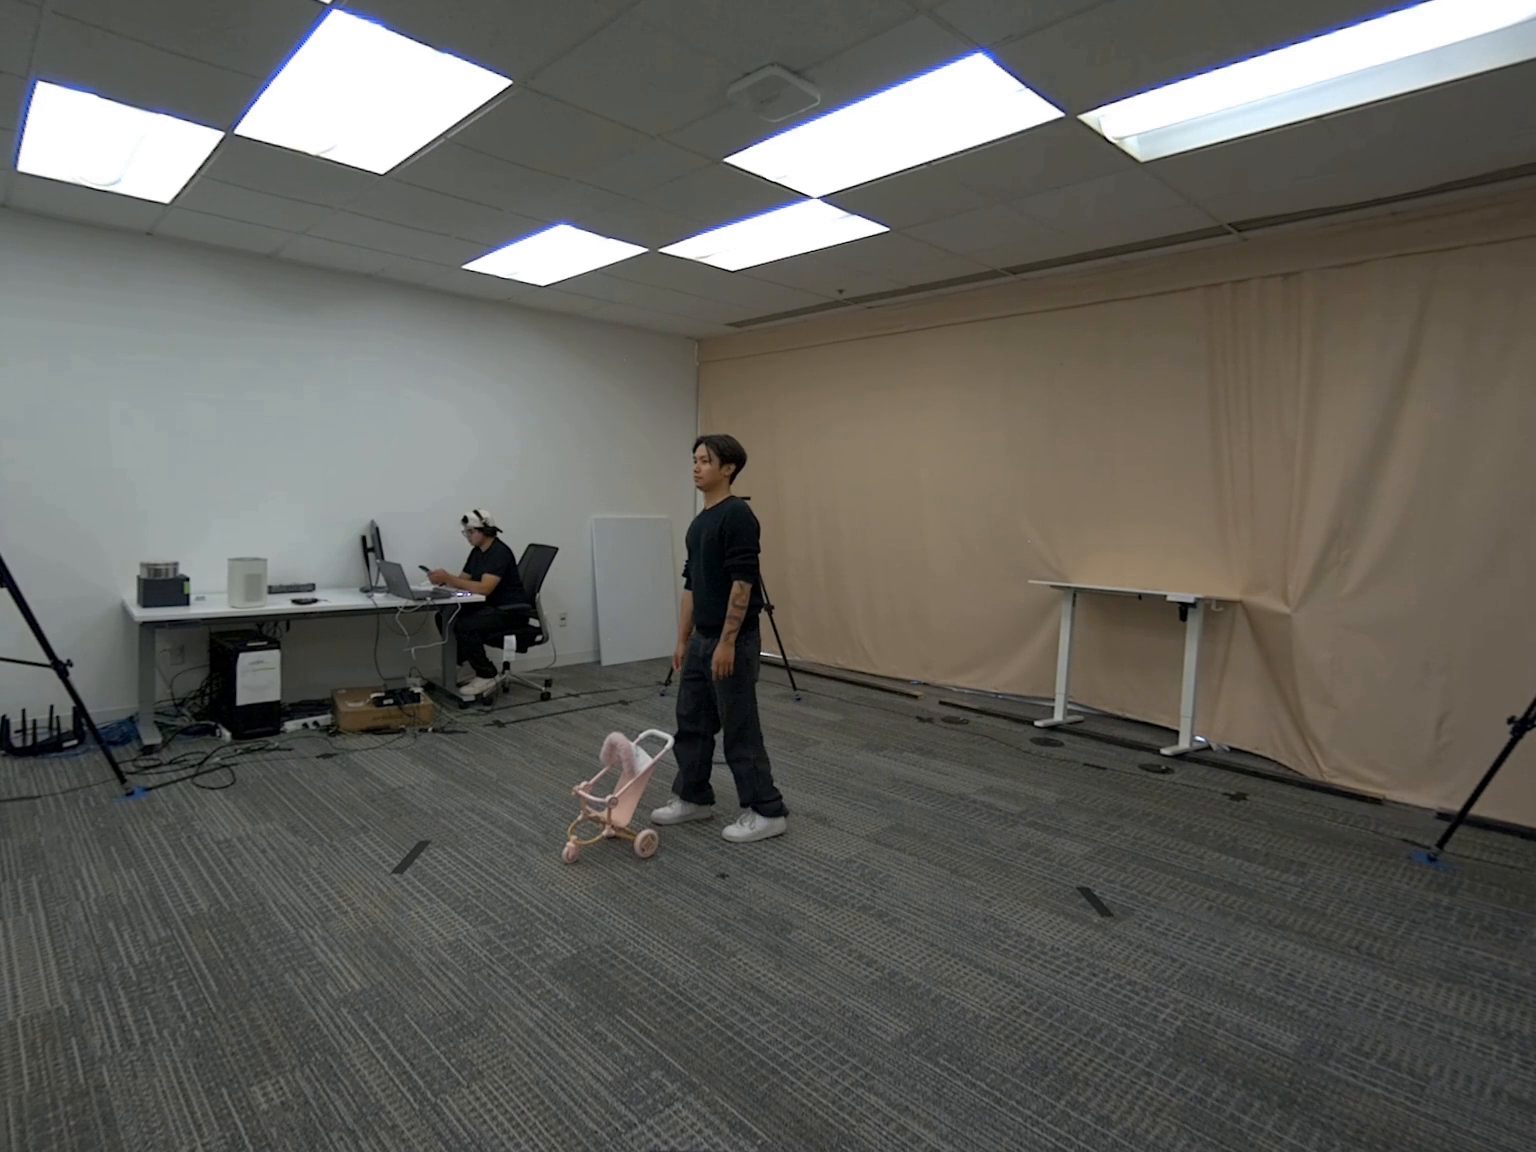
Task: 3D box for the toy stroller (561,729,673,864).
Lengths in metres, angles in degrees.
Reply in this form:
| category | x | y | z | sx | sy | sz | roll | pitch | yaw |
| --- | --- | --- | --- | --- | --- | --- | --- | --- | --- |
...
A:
| category | x | y | z | sx | sy | sz | roll | pitch | yaw |
| --- | --- | --- | --- | --- | --- | --- | --- | --- | --- |
| toy stroller | -0.606 | 0.855 | 3.291 | 0.332 | 0.537 | 0.288 | 18 | -7 | -36 |
